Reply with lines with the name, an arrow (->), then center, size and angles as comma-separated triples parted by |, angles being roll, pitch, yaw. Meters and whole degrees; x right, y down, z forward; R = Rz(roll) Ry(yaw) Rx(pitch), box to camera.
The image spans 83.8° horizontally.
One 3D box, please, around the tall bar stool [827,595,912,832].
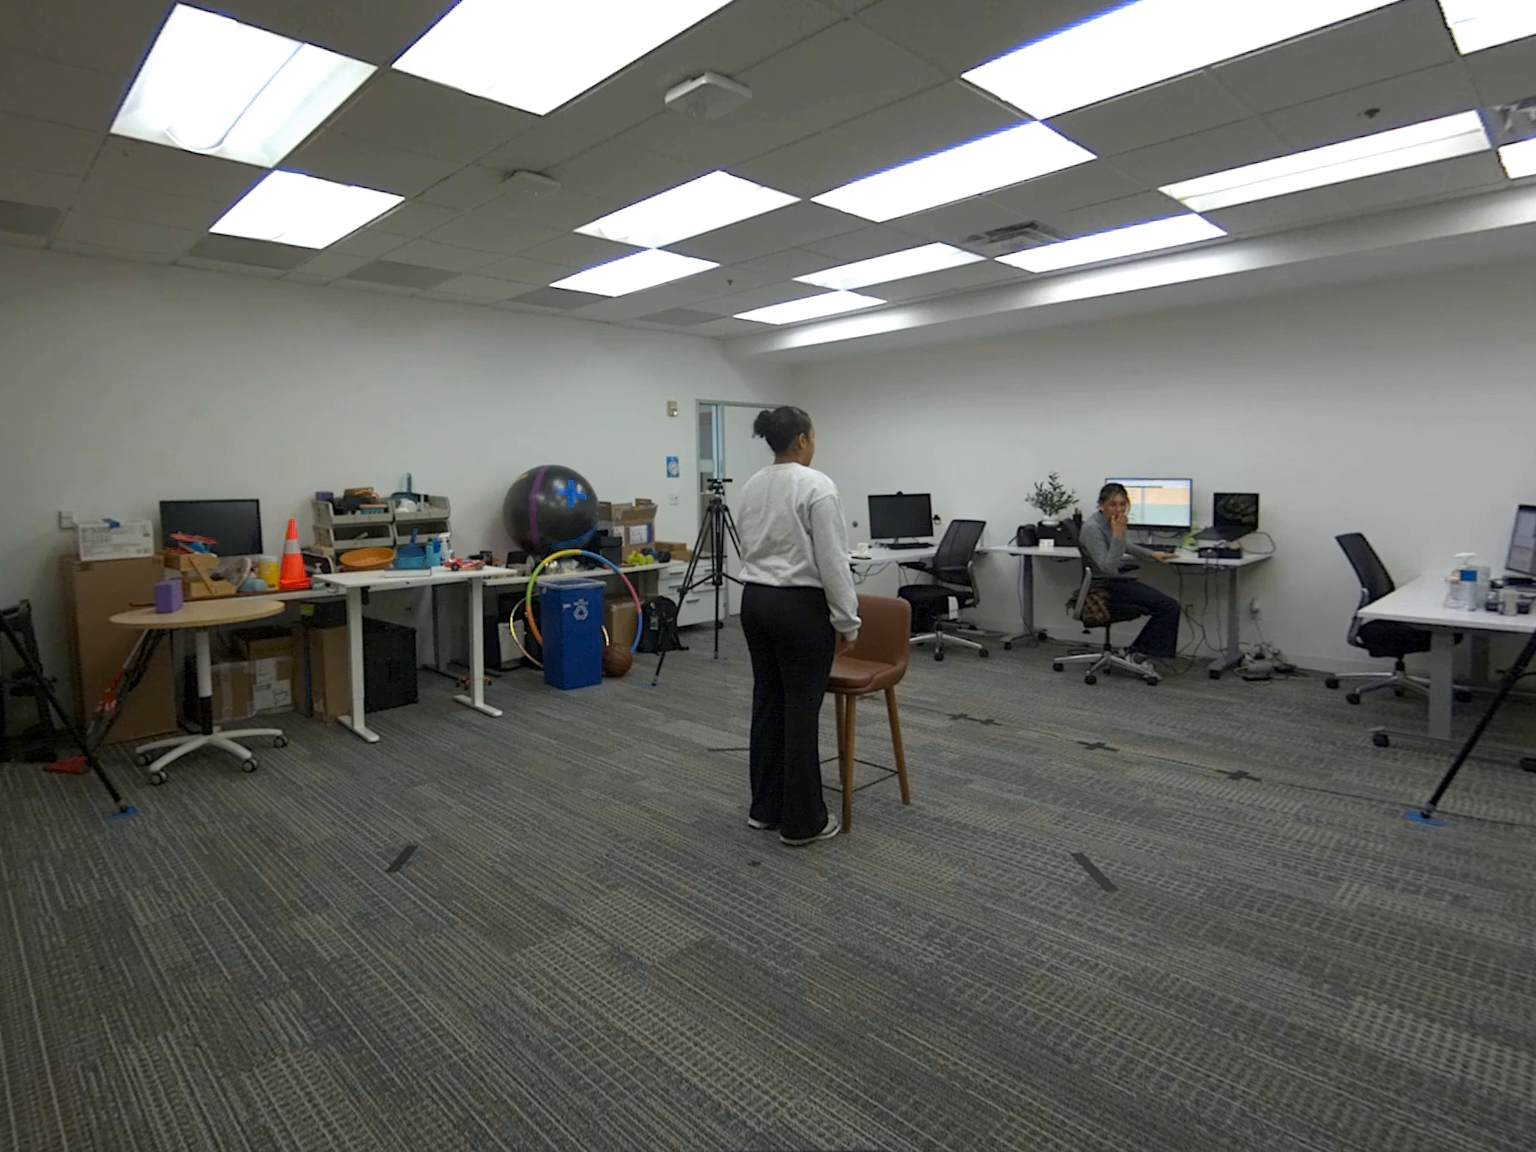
tall bar stool -> 0.325, 0.541, 3.625 | 0.454, 0.888, 0.470 | -2, 4, -43
